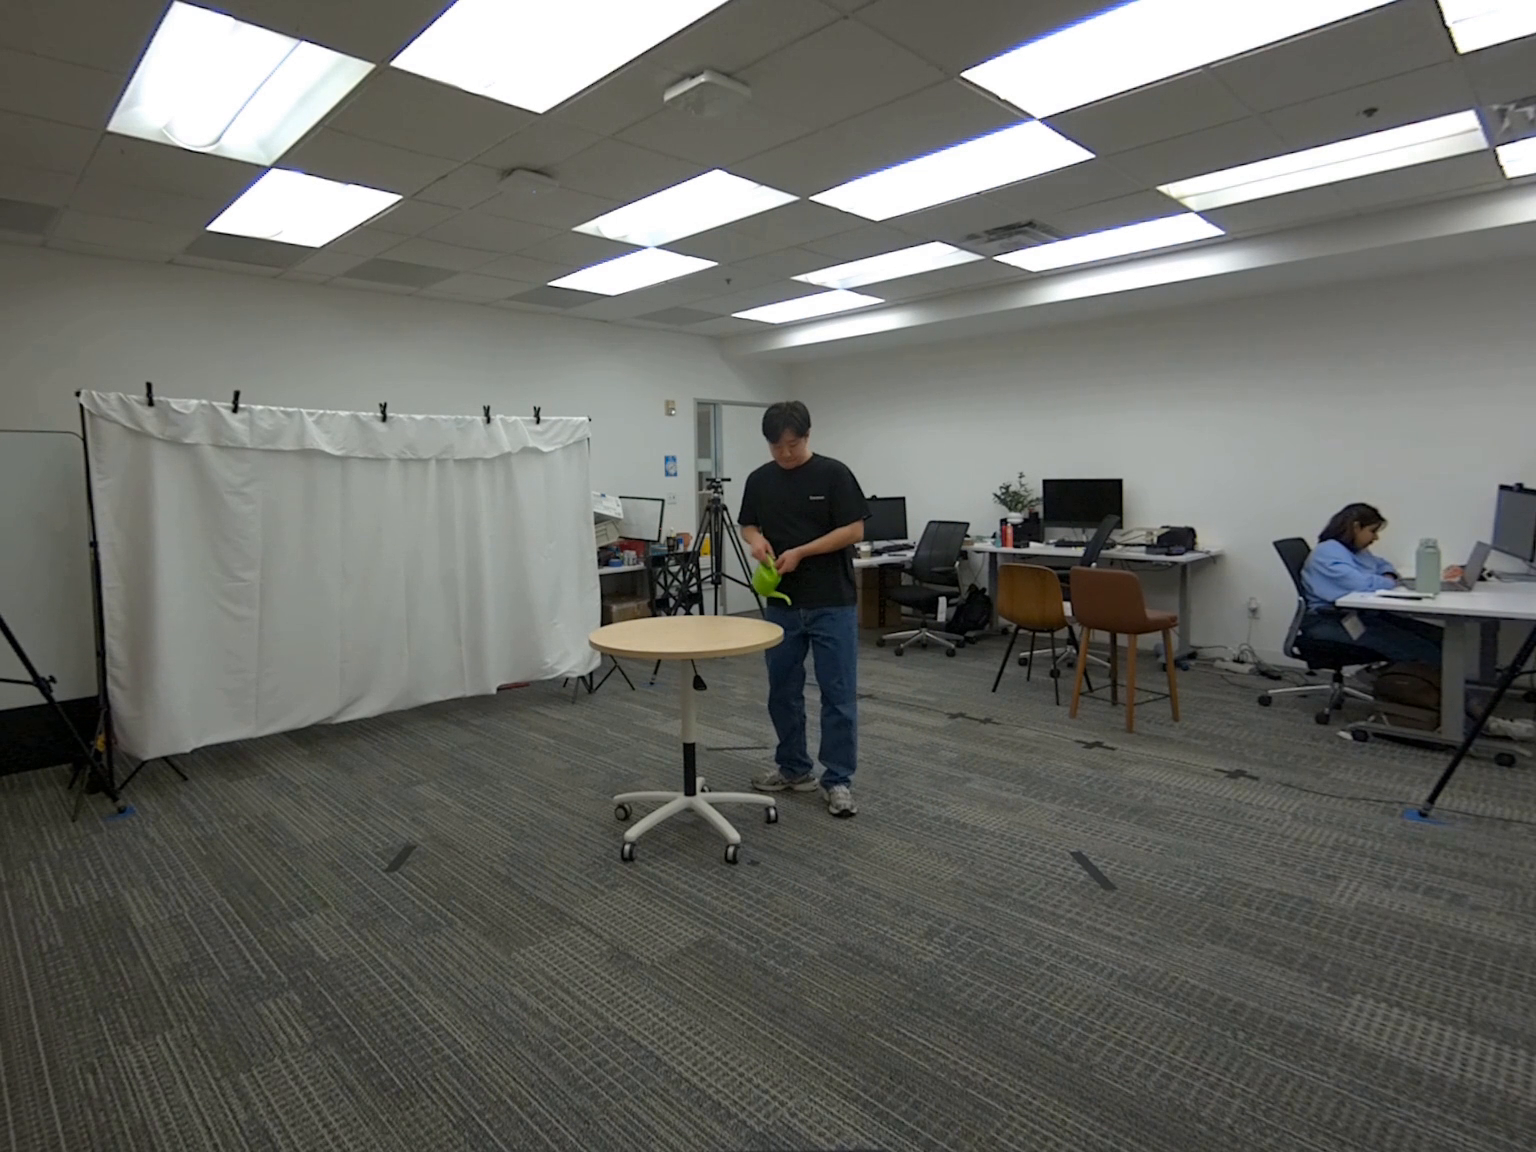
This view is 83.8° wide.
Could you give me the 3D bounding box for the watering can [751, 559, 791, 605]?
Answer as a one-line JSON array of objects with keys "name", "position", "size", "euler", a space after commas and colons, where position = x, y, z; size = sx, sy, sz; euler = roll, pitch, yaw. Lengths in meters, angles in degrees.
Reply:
[{"name": "watering can", "position": [0.012, 0.033, 3.658], "size": [0.096, 0.286, 0.174], "euler": [-1, -31, -16]}]
